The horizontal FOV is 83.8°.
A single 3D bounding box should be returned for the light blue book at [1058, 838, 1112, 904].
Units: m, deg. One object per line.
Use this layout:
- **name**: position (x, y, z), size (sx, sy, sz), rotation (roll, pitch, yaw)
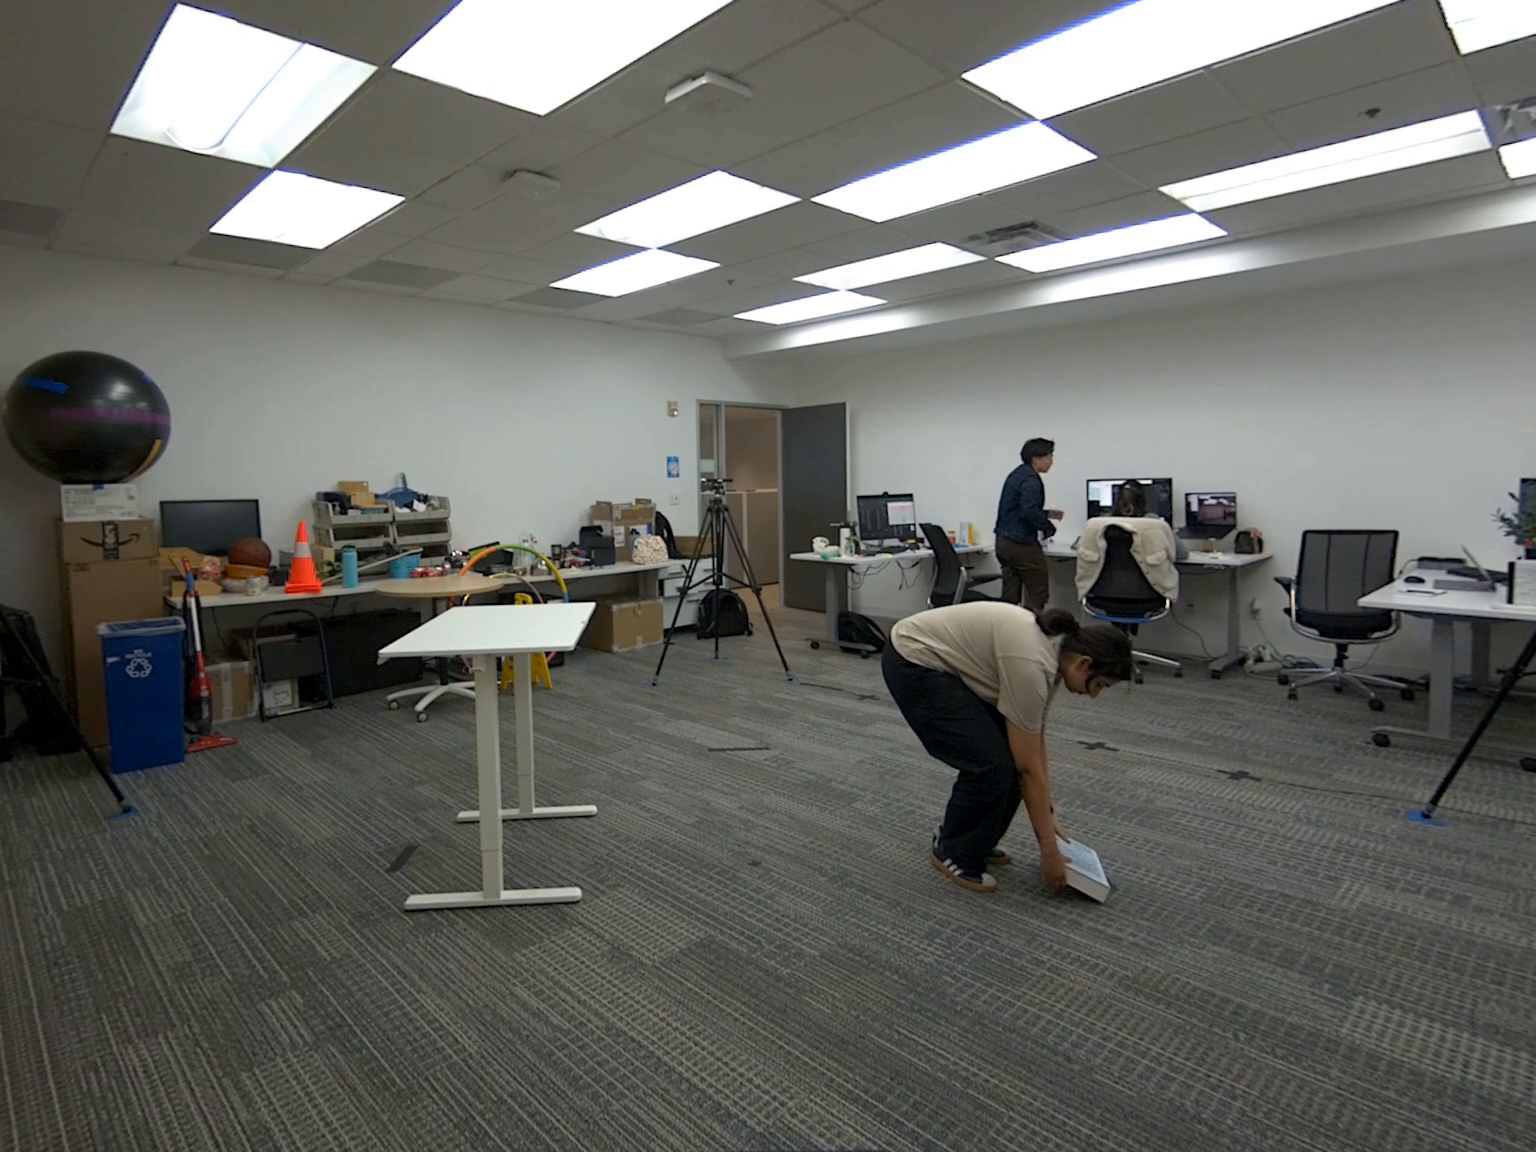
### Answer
- **light blue book**: position (1.022, 0.959, 2.893), size (0.194, 0.059, 0.259), rotation (23, 11, 8)
